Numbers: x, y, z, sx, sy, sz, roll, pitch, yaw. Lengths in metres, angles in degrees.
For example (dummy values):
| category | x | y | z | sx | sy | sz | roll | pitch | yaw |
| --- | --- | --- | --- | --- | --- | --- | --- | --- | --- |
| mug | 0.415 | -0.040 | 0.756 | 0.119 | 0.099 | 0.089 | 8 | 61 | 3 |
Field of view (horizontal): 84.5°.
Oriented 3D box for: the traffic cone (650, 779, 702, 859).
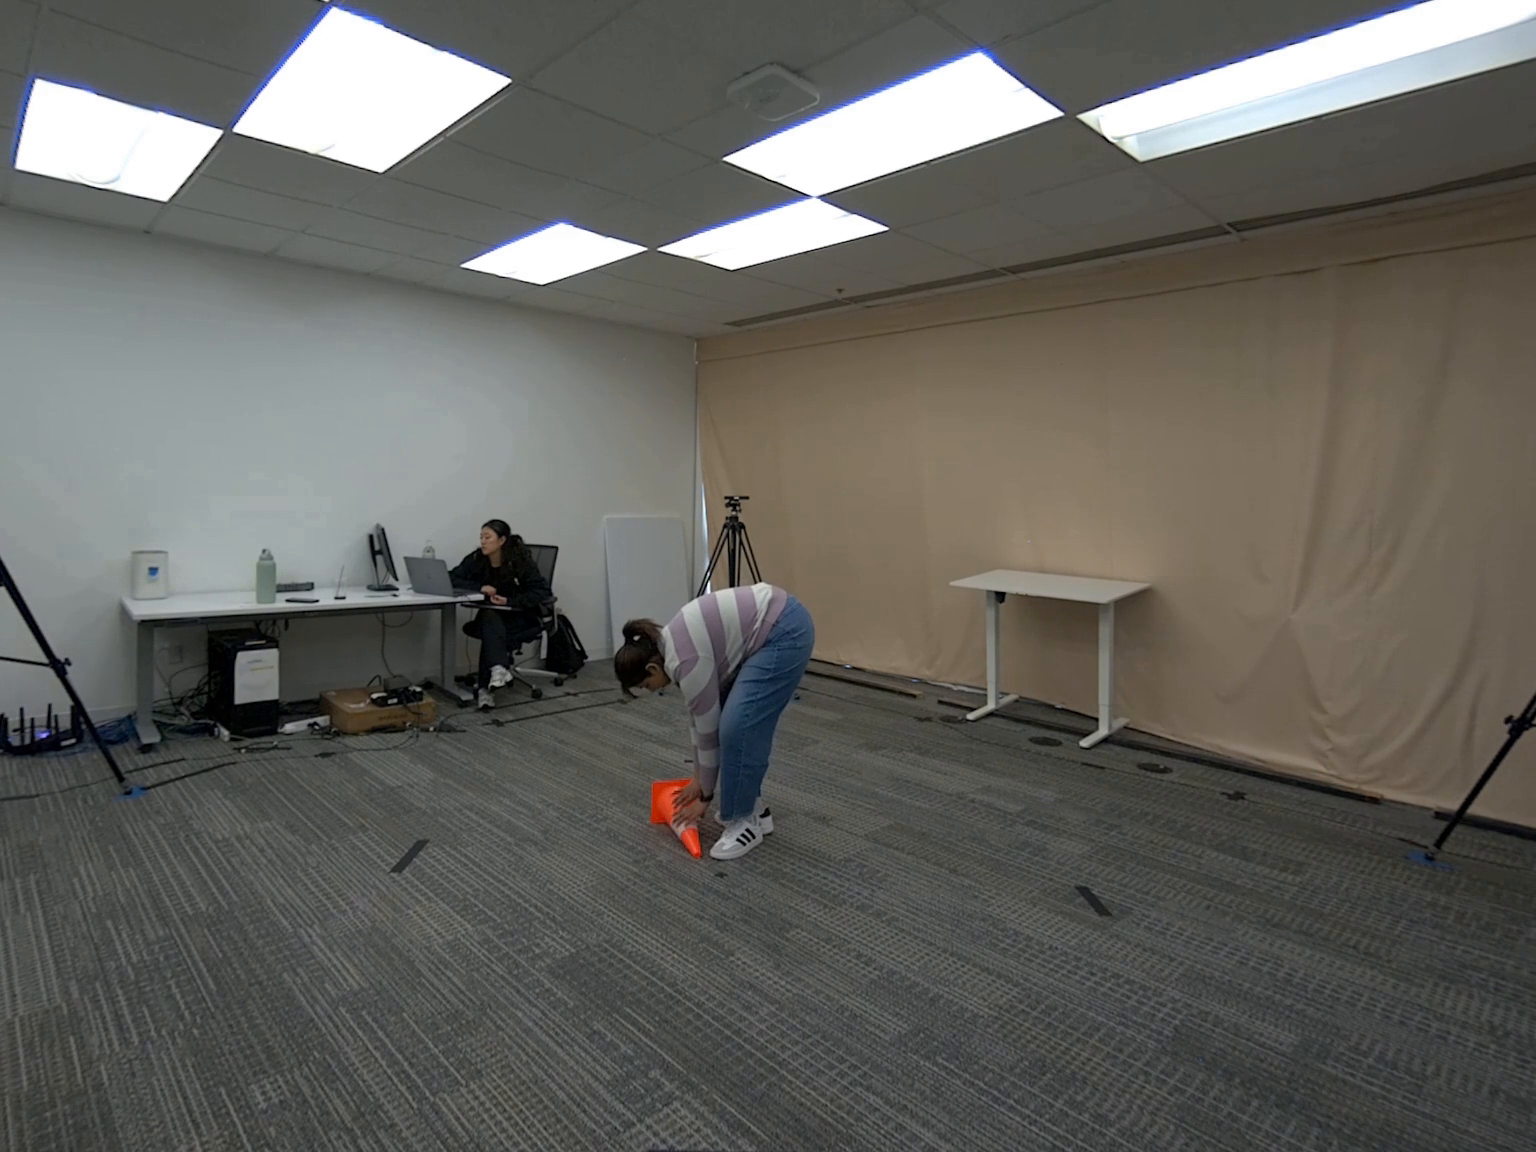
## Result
| category | x | y | z | sx | sy | sz | roll | pitch | yaw |
| --- | --- | --- | --- | --- | --- | --- | --- | --- | --- |
| traffic cone | -0.344 | 1.018 | 3.412 | 0.200 | 0.203 | 0.393 | 0 | 18 | -19 |
